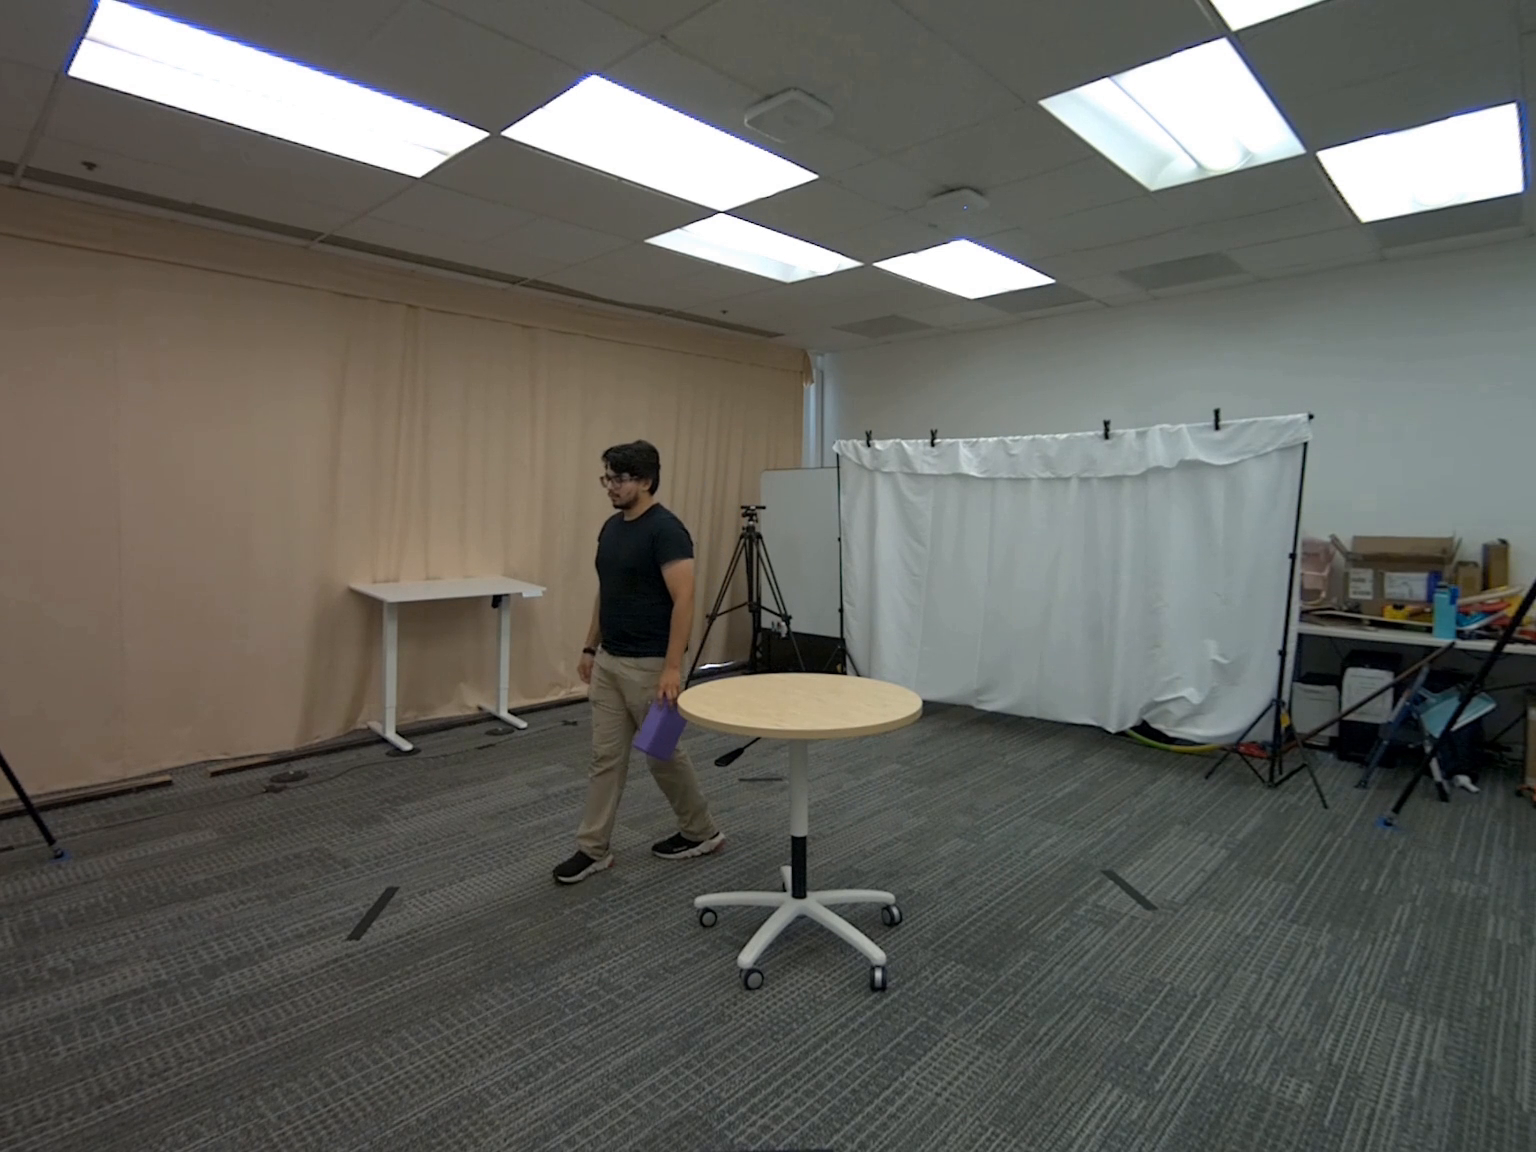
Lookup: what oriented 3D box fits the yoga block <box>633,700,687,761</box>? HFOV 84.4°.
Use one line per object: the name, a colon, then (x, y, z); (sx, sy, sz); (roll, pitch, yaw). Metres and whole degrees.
yoga block: (-0.379, 0.523, 2.997); (0.079, 0.229, 0.144); (17, -13, 35)
